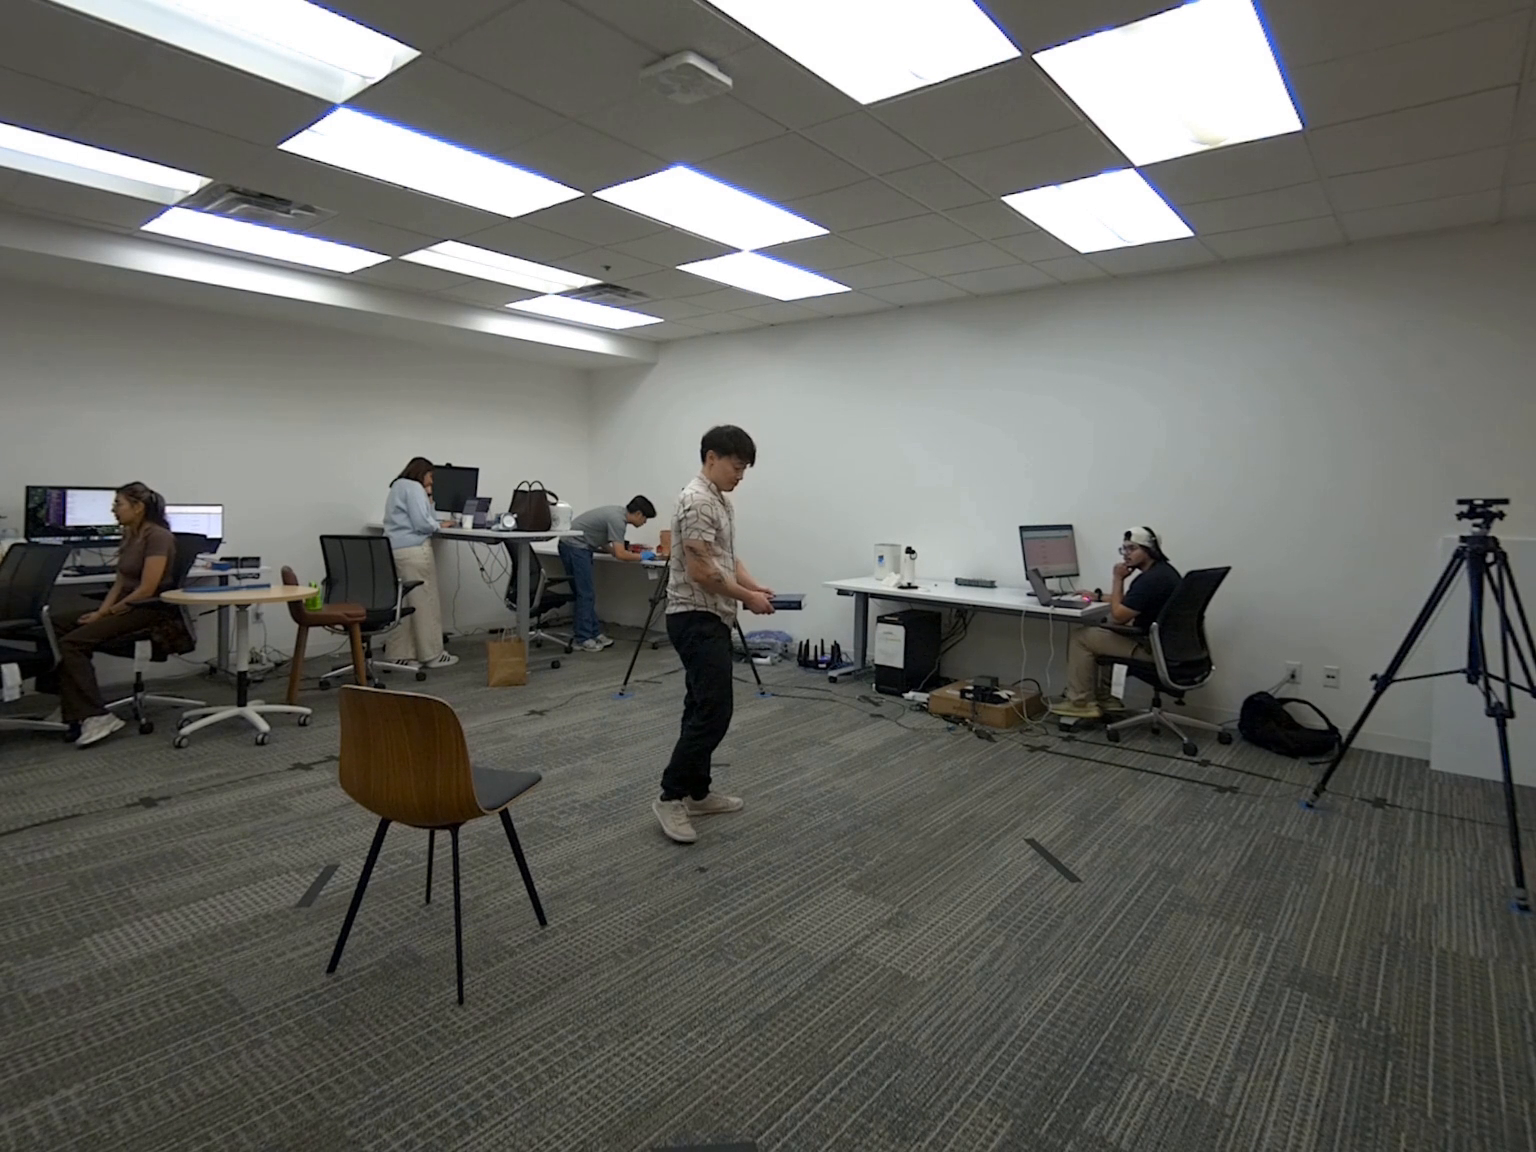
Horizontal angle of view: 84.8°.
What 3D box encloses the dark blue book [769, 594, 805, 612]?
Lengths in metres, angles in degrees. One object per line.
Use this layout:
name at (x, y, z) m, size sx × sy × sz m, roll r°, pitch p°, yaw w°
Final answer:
dark blue book at (0.008, 0.106, 3.531) m, size 0.248 × 0.045 × 0.162 m, roll -1°, pitch 7°, yaw 10°
